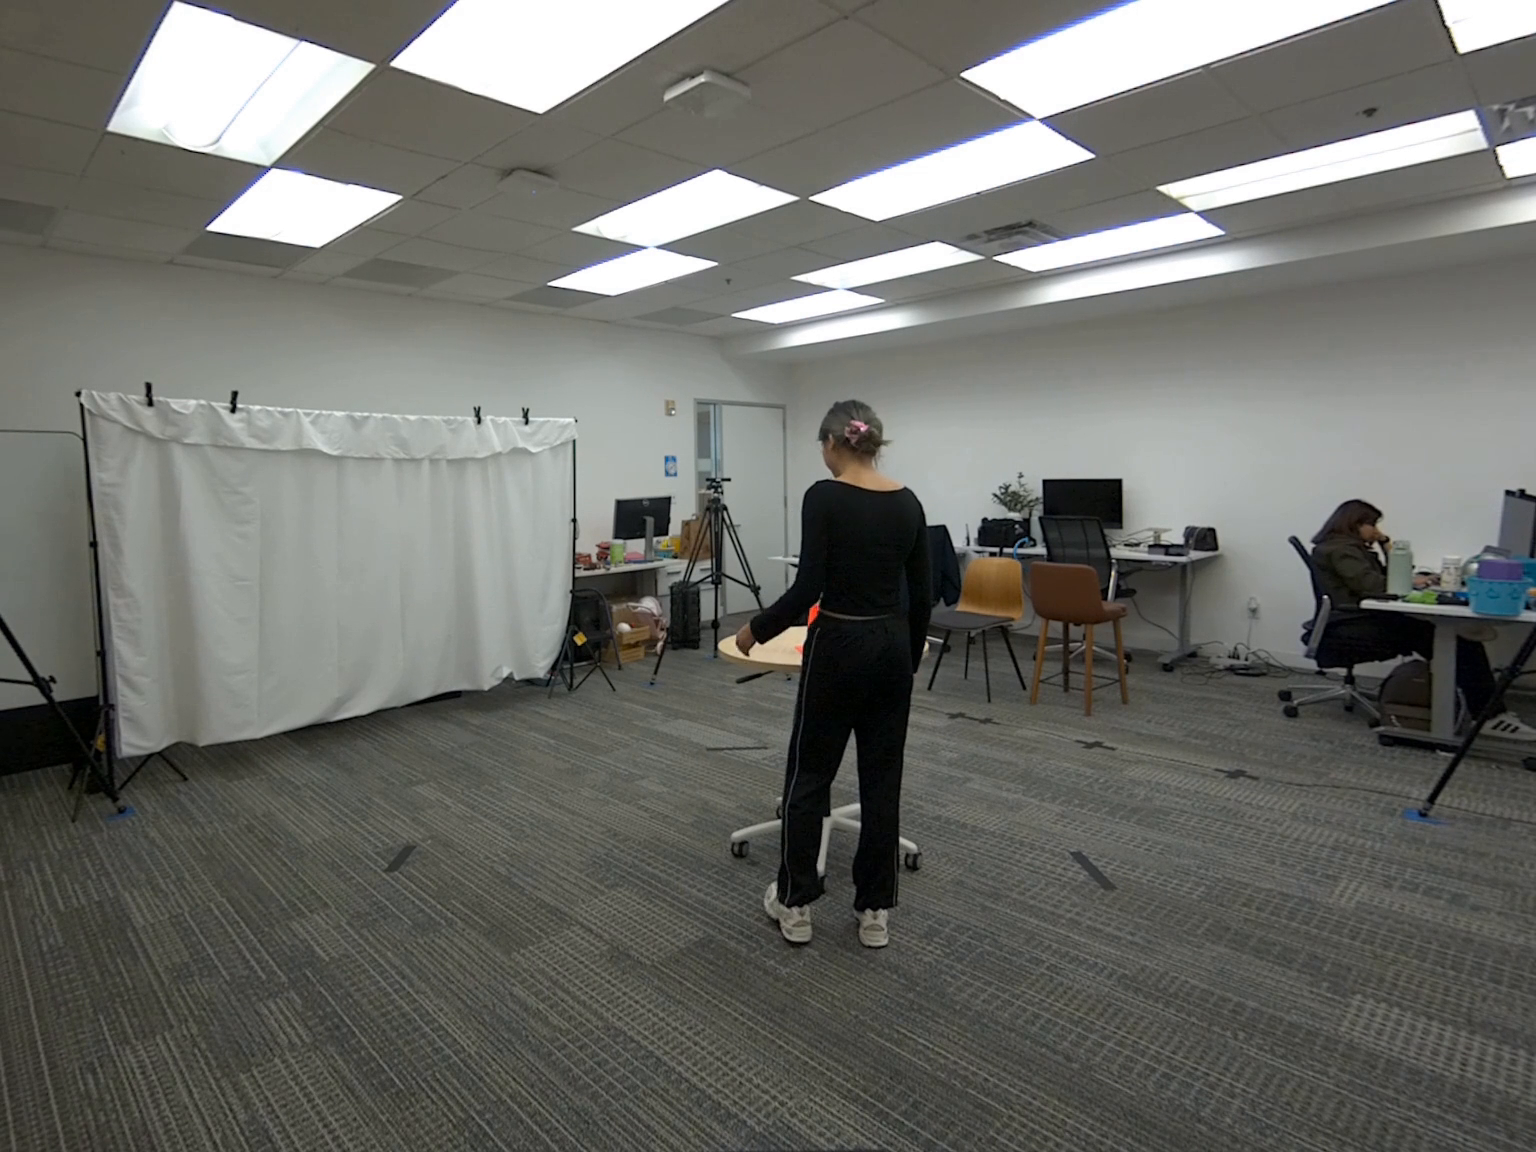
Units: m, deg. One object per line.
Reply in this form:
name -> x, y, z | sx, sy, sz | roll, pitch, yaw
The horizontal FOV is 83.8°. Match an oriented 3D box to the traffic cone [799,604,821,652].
traffic cone -> 0.217, 0.078, 2.989 | 0.203, 0.382, 0.206 | -1, 4, -9
